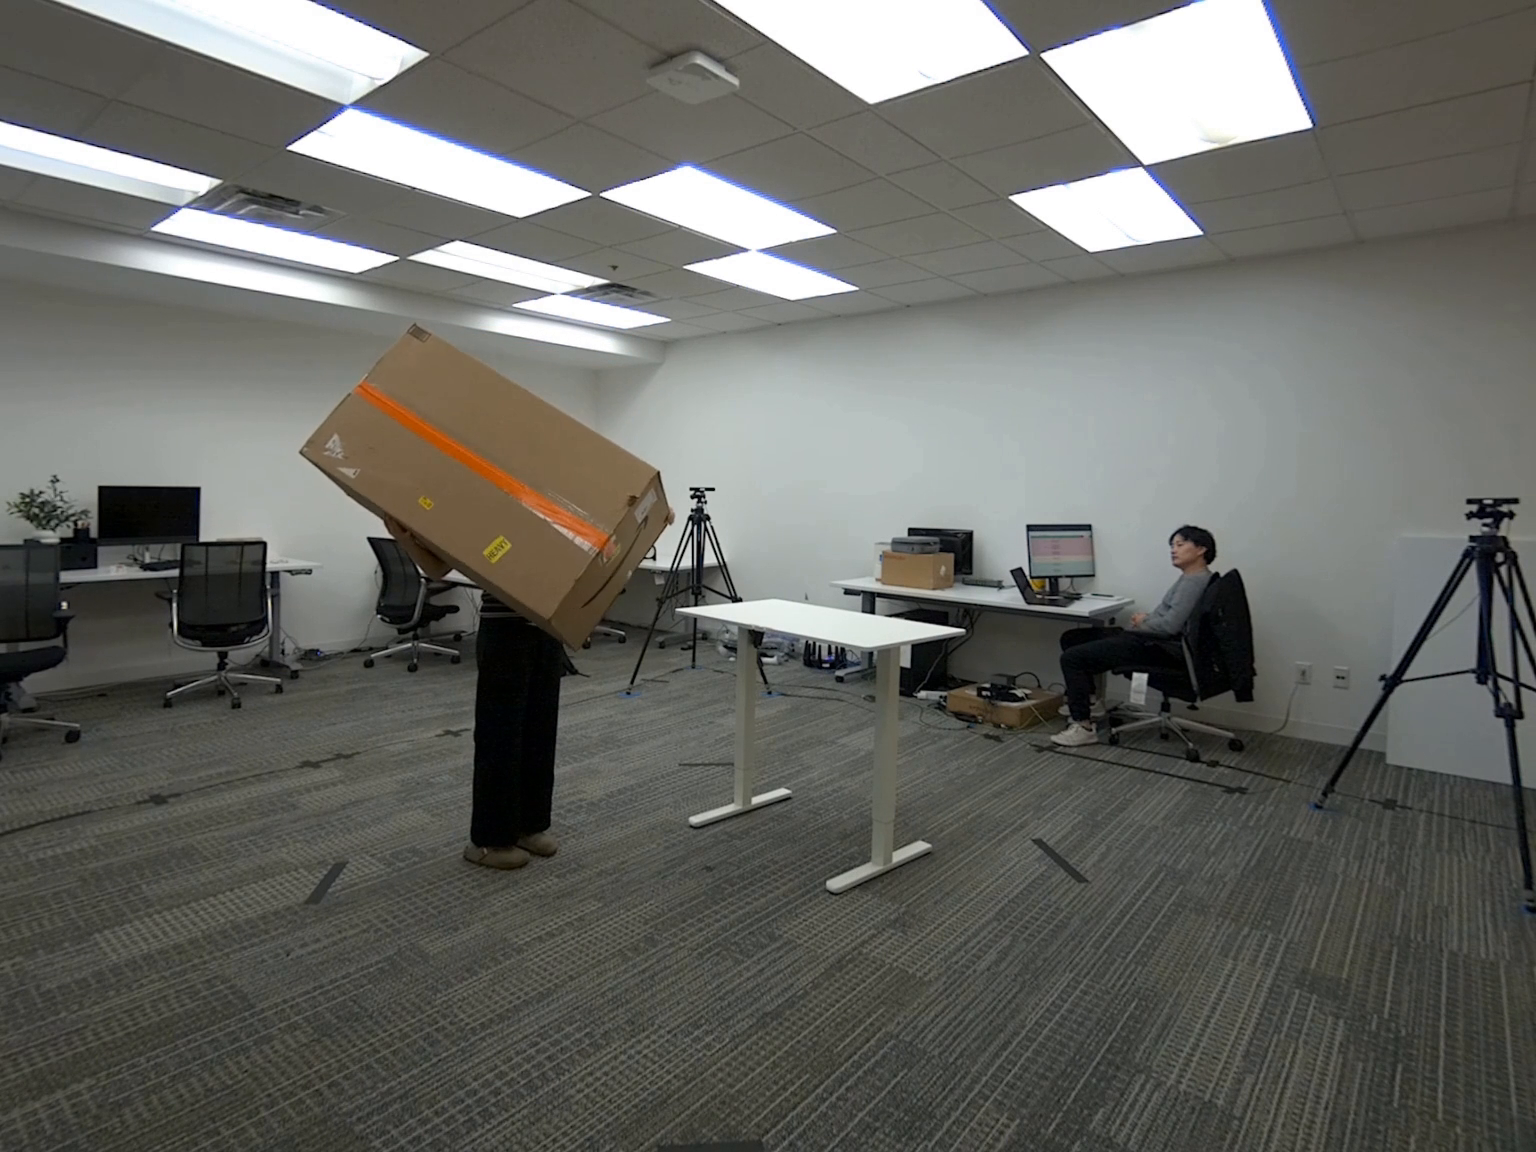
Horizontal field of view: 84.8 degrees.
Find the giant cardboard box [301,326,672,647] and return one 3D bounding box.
[{"bbox_3d":[-0.927,-0.298,2.862,1.045,0.579,0.417,31,-15,13],"label":"giant cardboard box"}]
